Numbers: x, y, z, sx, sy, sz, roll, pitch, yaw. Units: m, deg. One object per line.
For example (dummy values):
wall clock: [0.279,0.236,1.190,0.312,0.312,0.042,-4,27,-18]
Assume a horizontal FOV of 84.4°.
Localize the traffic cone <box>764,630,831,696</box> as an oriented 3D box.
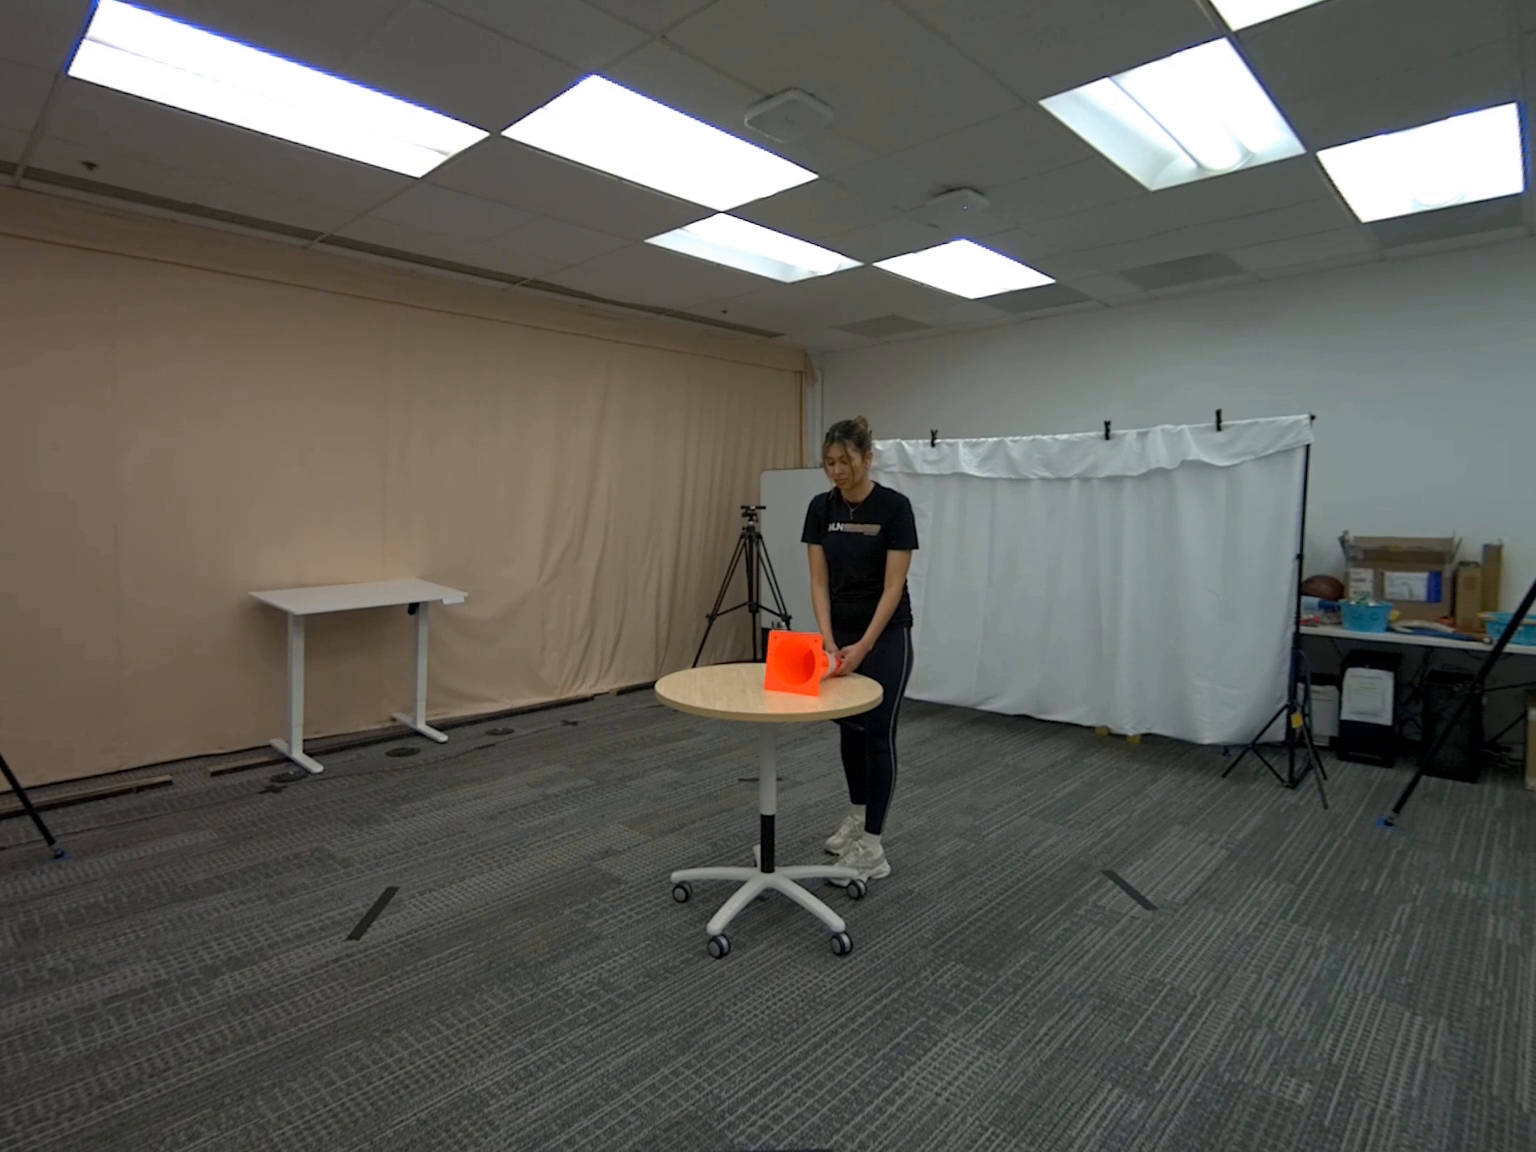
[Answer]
traffic cone: [0.182,0.307,2.903,0.211,0.204,0.371,1,-7,29]
